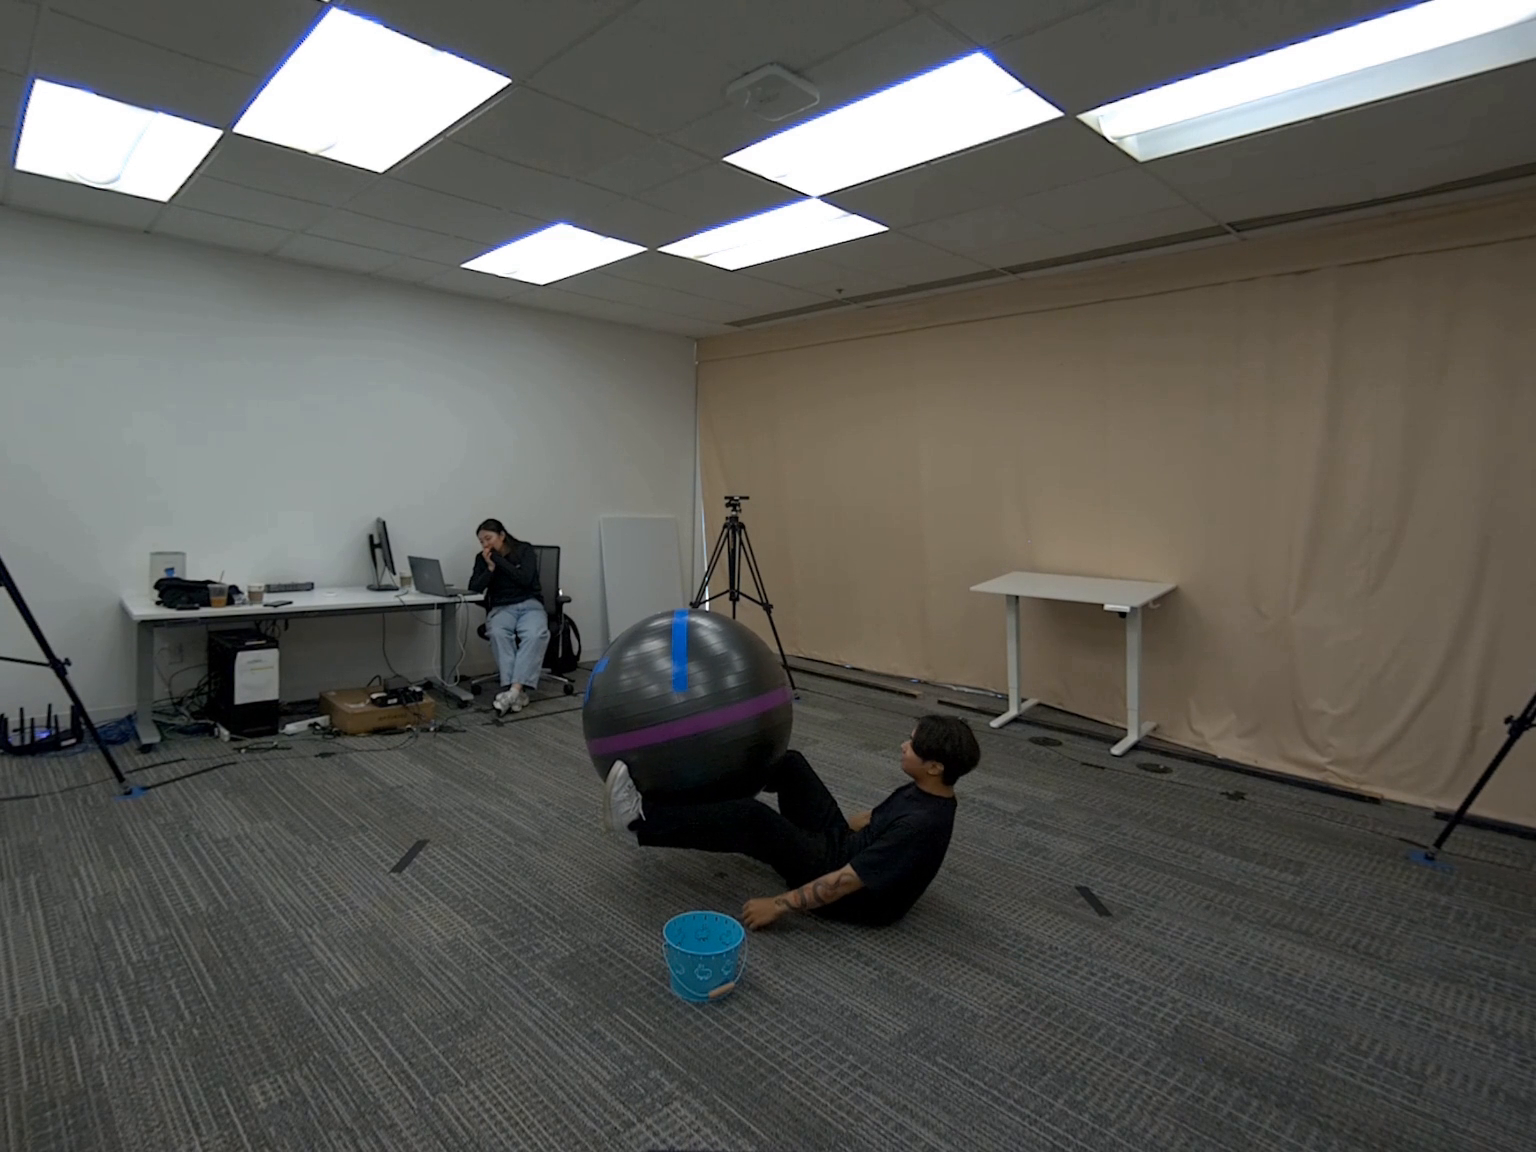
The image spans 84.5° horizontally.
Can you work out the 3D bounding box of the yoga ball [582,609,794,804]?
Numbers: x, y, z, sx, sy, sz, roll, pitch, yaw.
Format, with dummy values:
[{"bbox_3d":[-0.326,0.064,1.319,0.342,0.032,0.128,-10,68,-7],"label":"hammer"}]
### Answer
[{"bbox_3d":[-0.291,0.503,3.069,0.757,0.756,0.761,1,4,-1],"label":"yoga ball"}]
